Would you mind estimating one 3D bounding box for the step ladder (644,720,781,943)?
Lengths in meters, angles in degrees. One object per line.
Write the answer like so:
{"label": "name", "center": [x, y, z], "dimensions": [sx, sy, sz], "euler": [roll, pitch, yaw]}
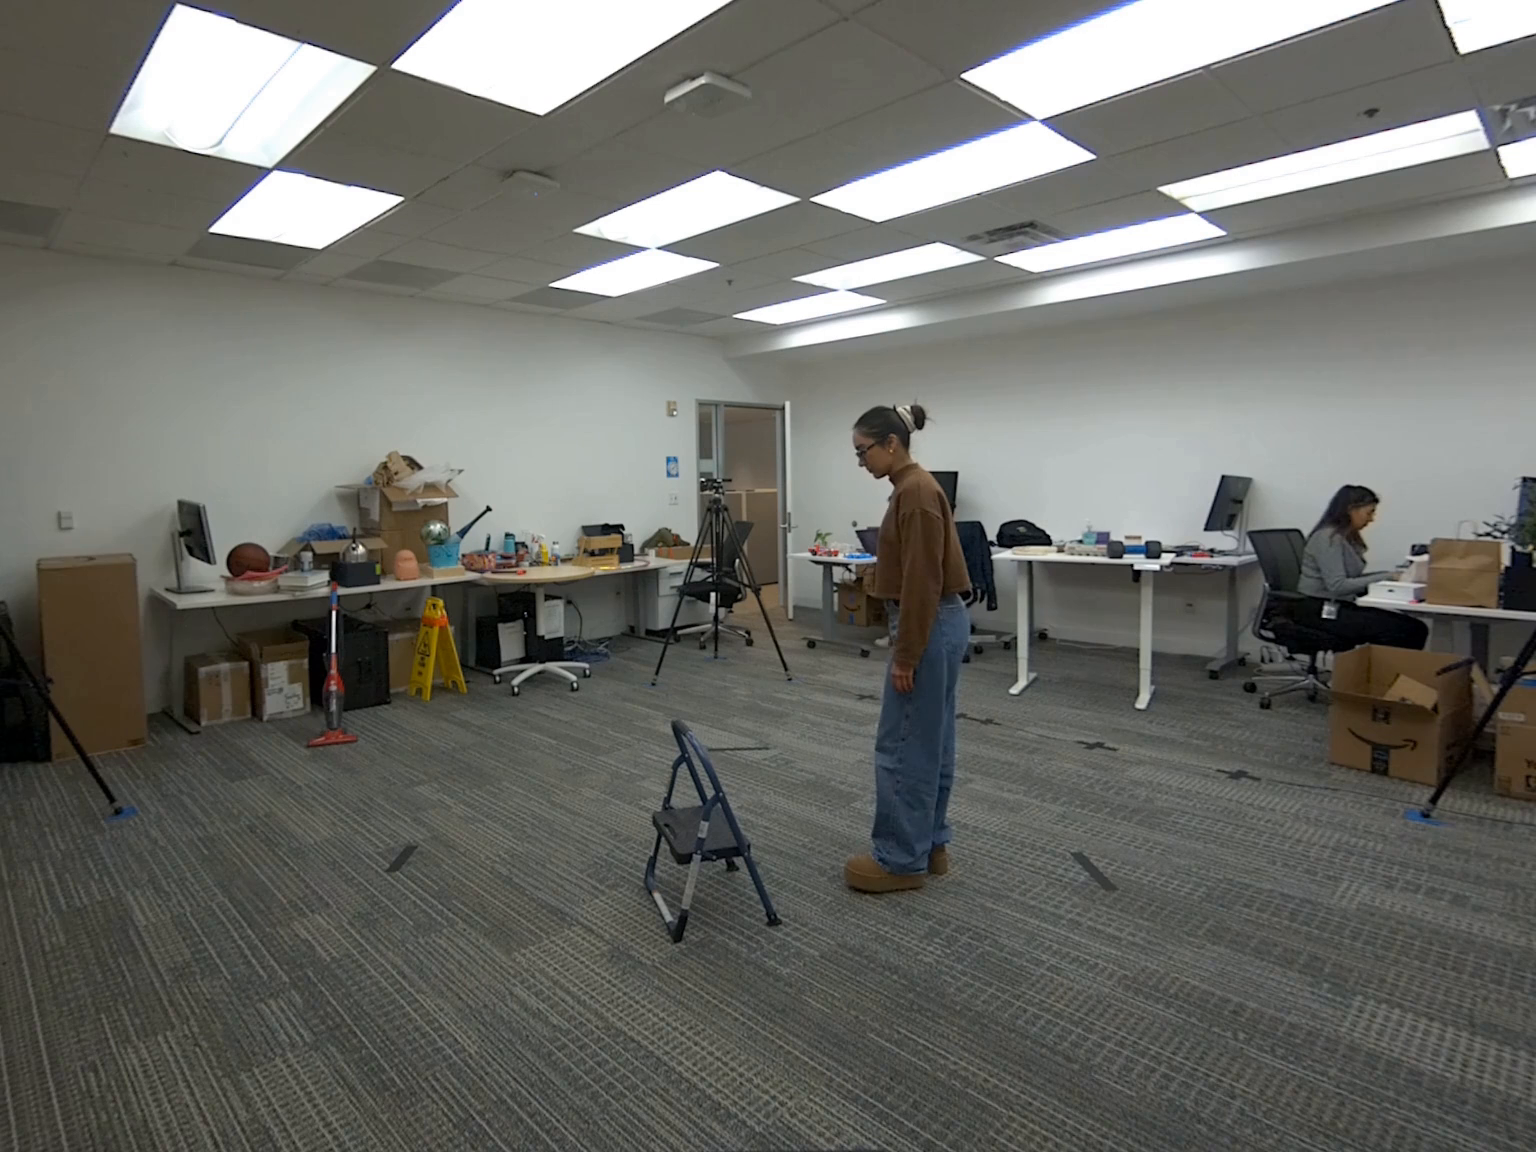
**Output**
{"label": "step ladder", "center": [-0.192, 0.779, 2.803], "dimensions": [0.343, 0.604, 0.440], "euler": [-2, 5, -21]}
